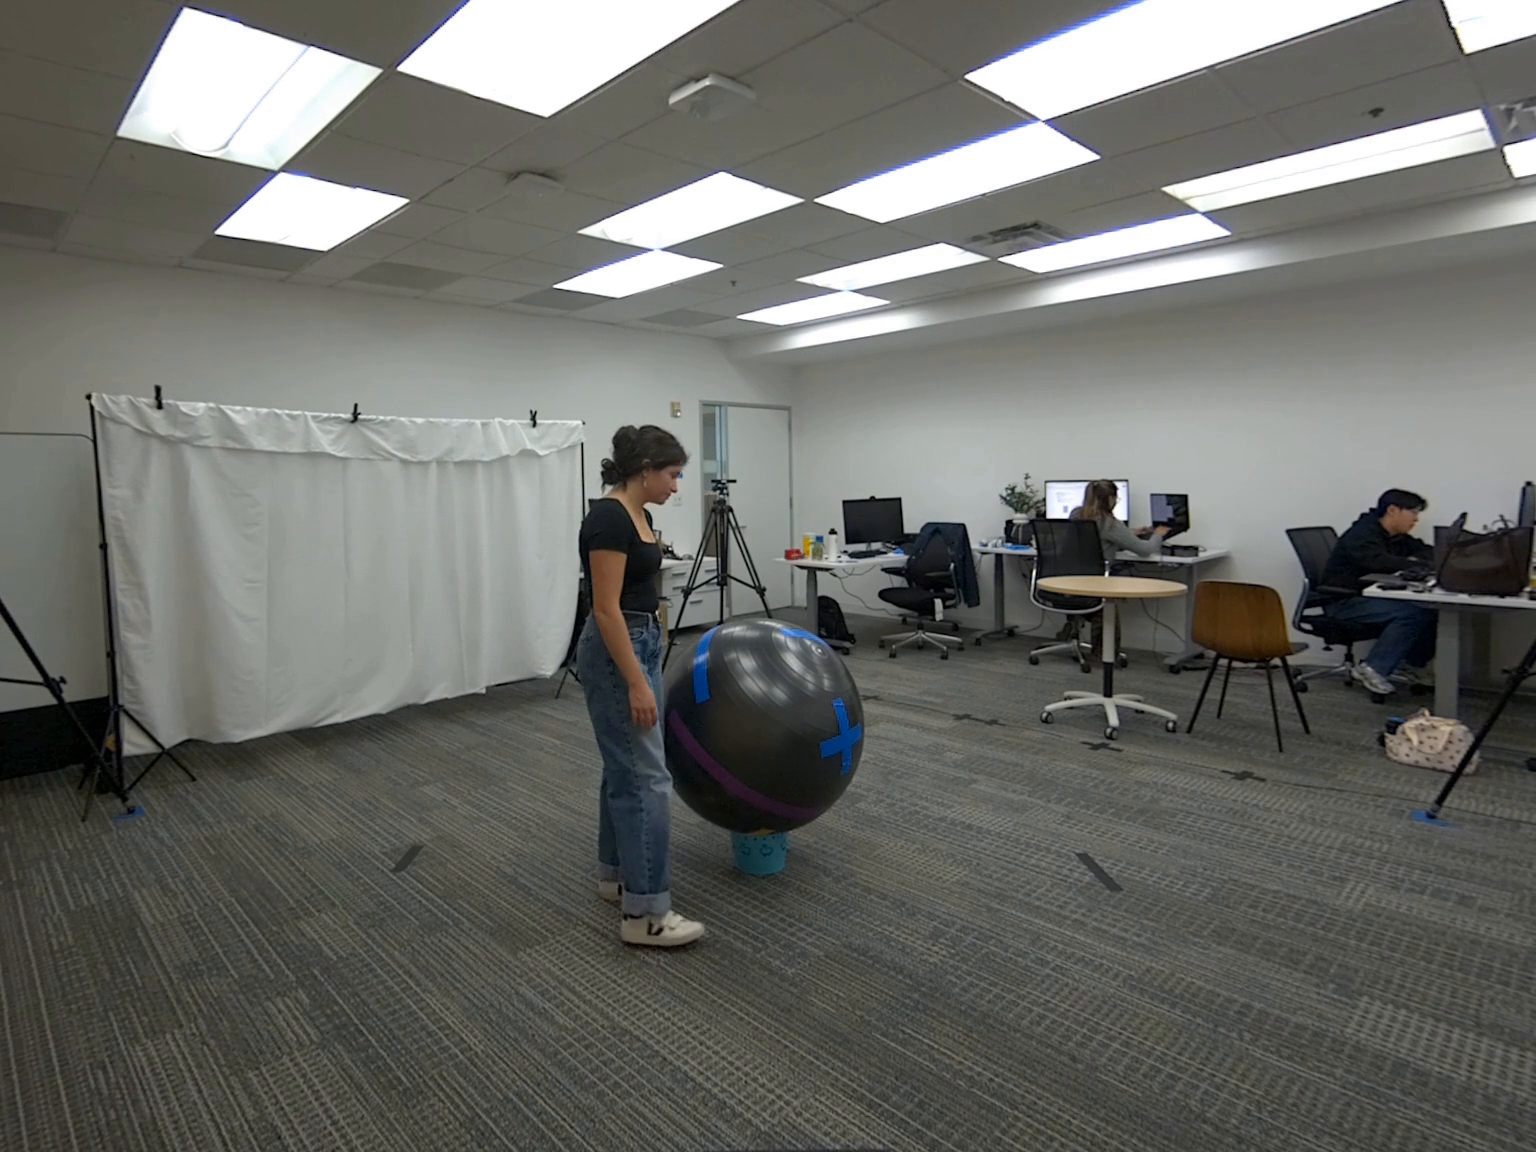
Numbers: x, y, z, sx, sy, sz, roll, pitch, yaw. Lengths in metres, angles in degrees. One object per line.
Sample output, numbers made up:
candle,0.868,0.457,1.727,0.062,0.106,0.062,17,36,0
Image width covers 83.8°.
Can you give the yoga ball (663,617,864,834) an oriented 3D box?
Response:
yoga ball,-0.031,0.538,3.086,0.757,0.755,0.762,-1,5,-2
